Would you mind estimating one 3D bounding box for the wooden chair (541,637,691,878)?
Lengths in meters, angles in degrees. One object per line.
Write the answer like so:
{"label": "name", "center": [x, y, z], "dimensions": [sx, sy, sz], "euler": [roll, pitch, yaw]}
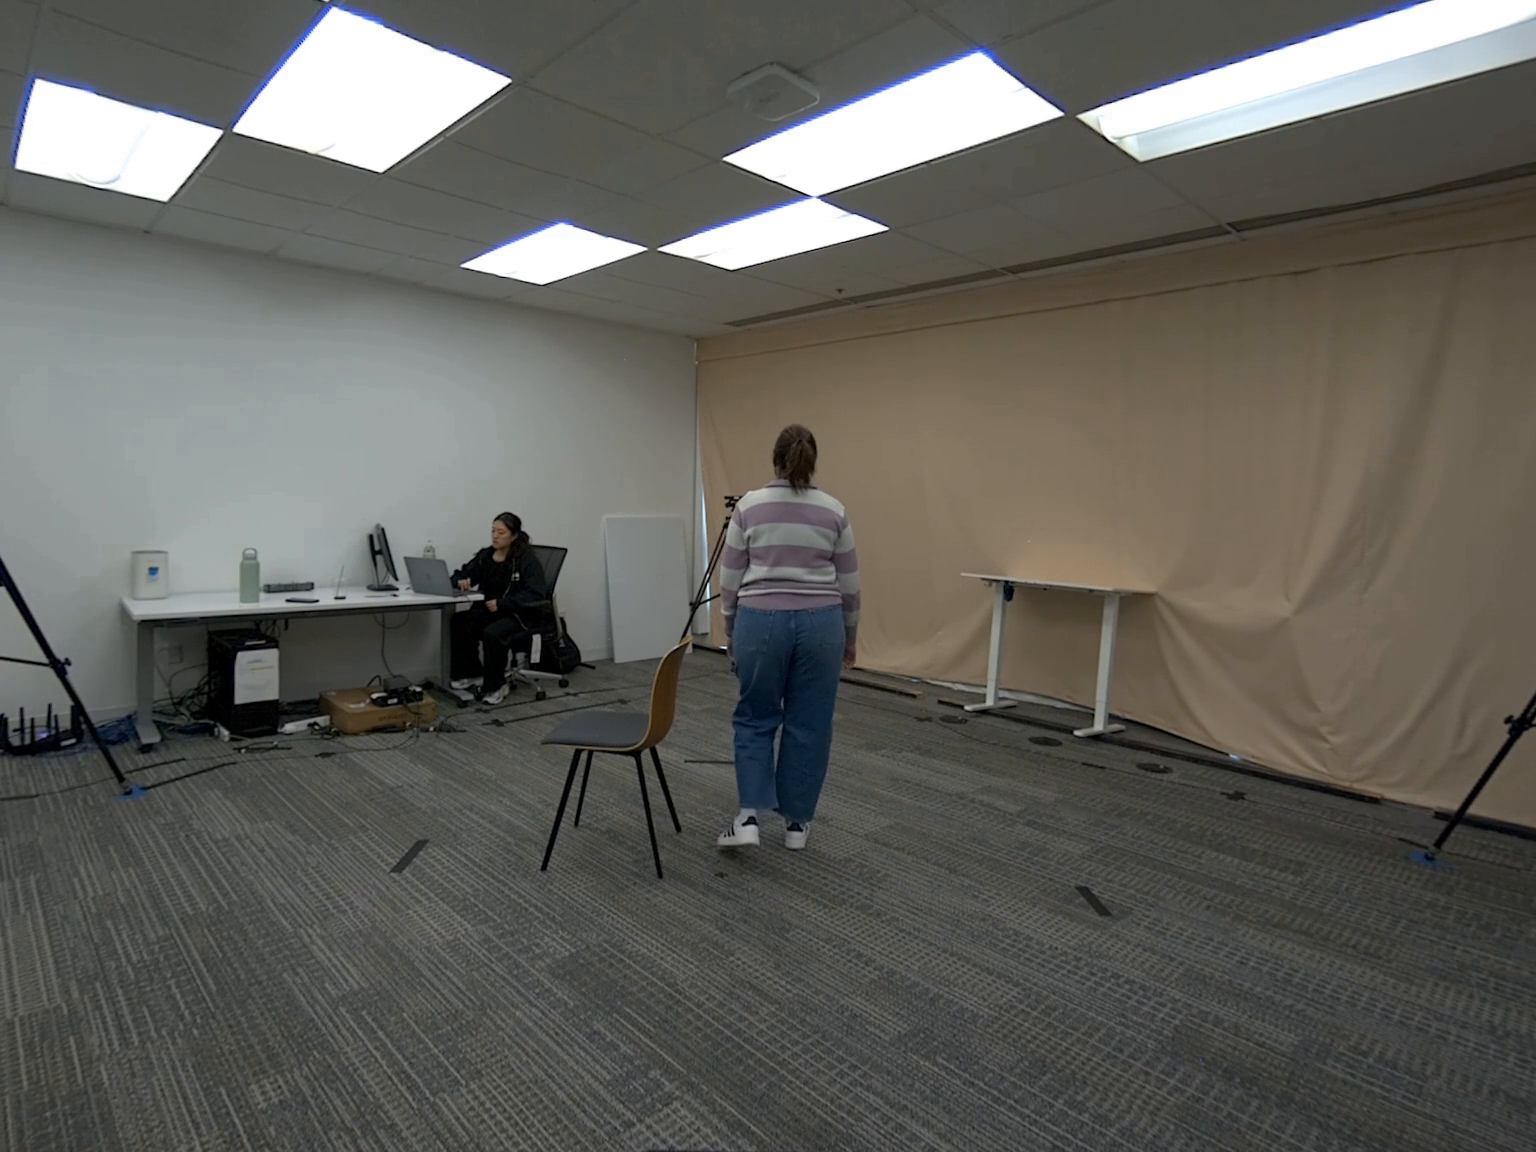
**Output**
{"label": "wooden chair", "center": [-0.599, 0.650, 3.261], "dimensions": [0.525, 0.875, 0.478], "euler": [6, 4, 4]}
